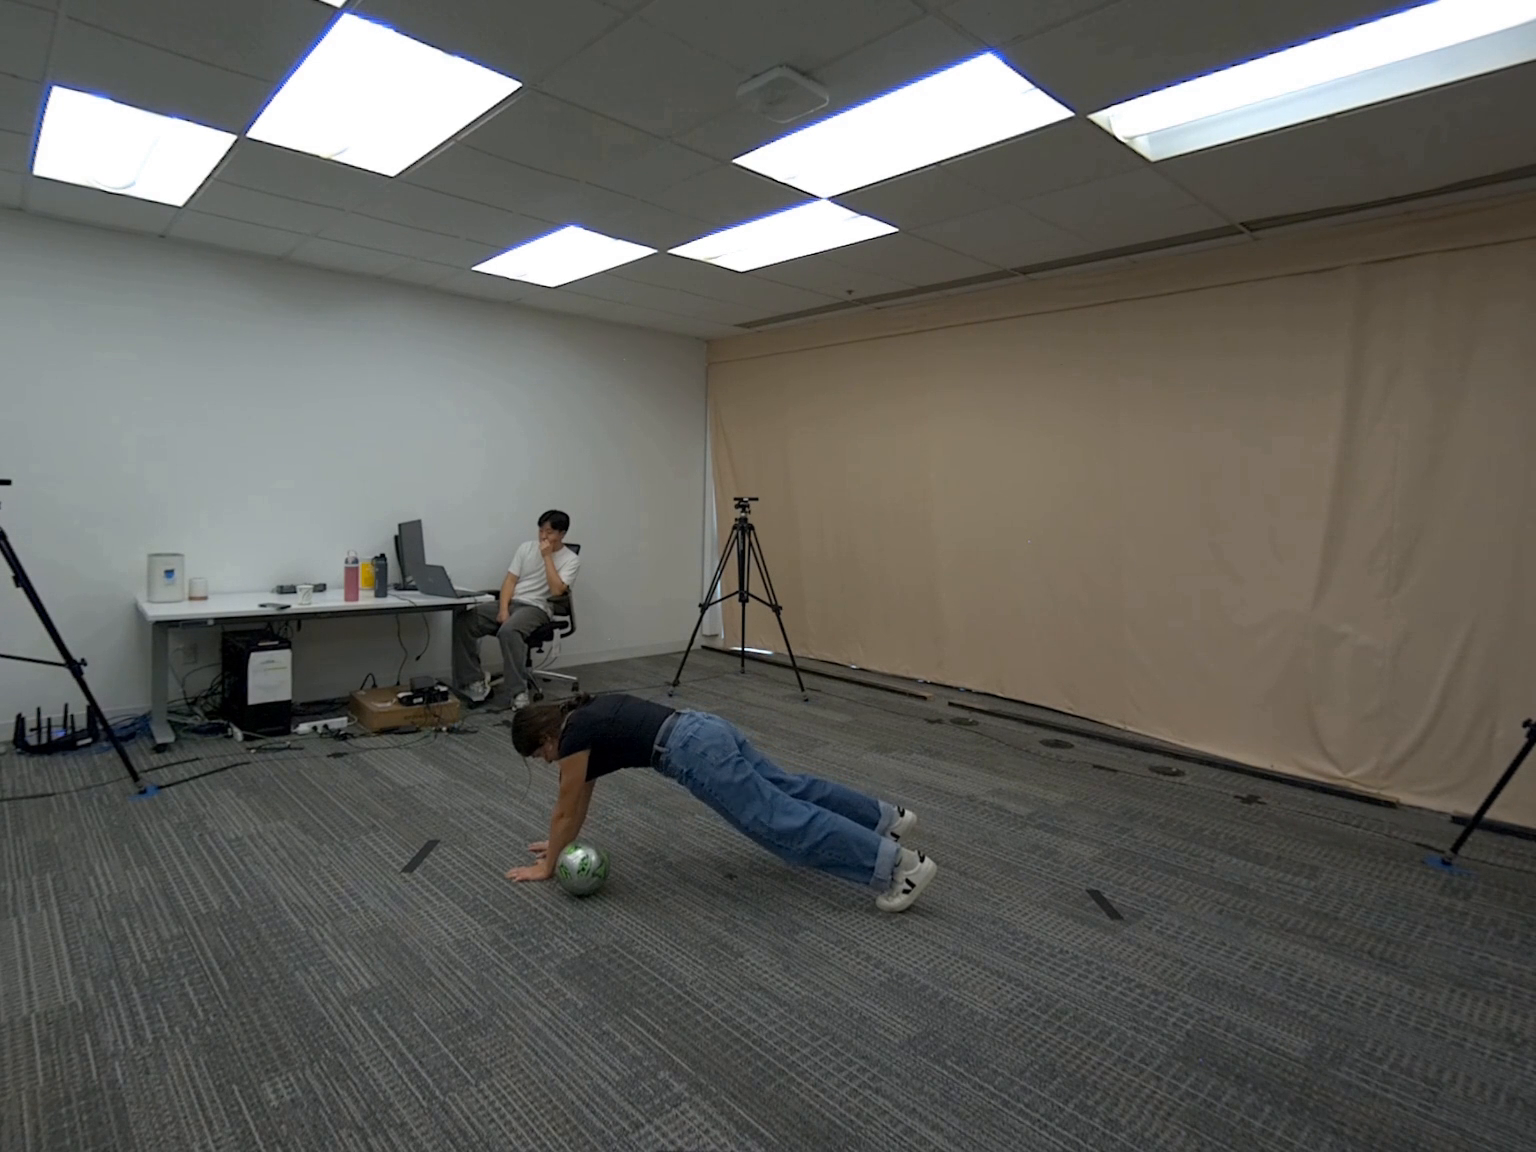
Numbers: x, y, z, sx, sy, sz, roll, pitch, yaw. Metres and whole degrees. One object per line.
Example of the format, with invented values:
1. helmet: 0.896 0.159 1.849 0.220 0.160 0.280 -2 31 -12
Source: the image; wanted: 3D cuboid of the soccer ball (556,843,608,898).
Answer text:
1. soccer ball: -0.650 1.012 2.932 0.187 0.187 0.188 1 4 -1
